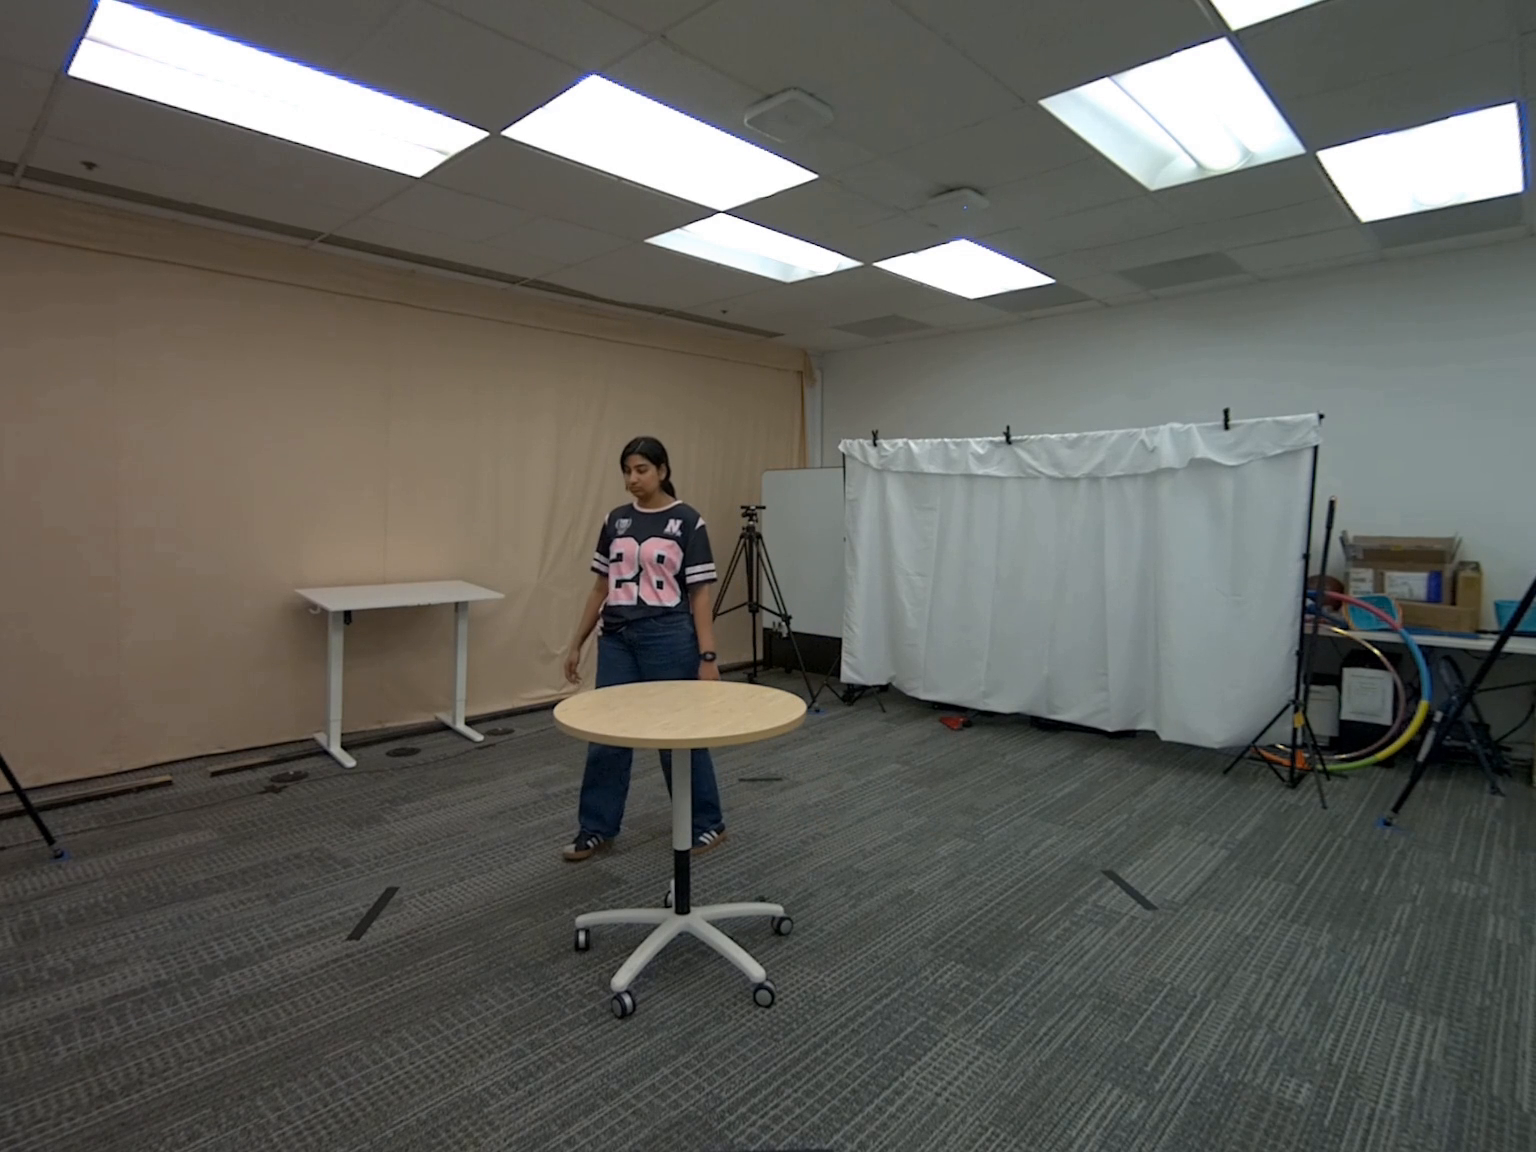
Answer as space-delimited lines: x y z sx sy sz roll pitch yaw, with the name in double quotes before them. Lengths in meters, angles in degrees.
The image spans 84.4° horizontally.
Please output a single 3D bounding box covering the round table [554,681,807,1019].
"round table" -0.257 0.792 2.580 0.763 0.792 0.766 -1 3 -2
